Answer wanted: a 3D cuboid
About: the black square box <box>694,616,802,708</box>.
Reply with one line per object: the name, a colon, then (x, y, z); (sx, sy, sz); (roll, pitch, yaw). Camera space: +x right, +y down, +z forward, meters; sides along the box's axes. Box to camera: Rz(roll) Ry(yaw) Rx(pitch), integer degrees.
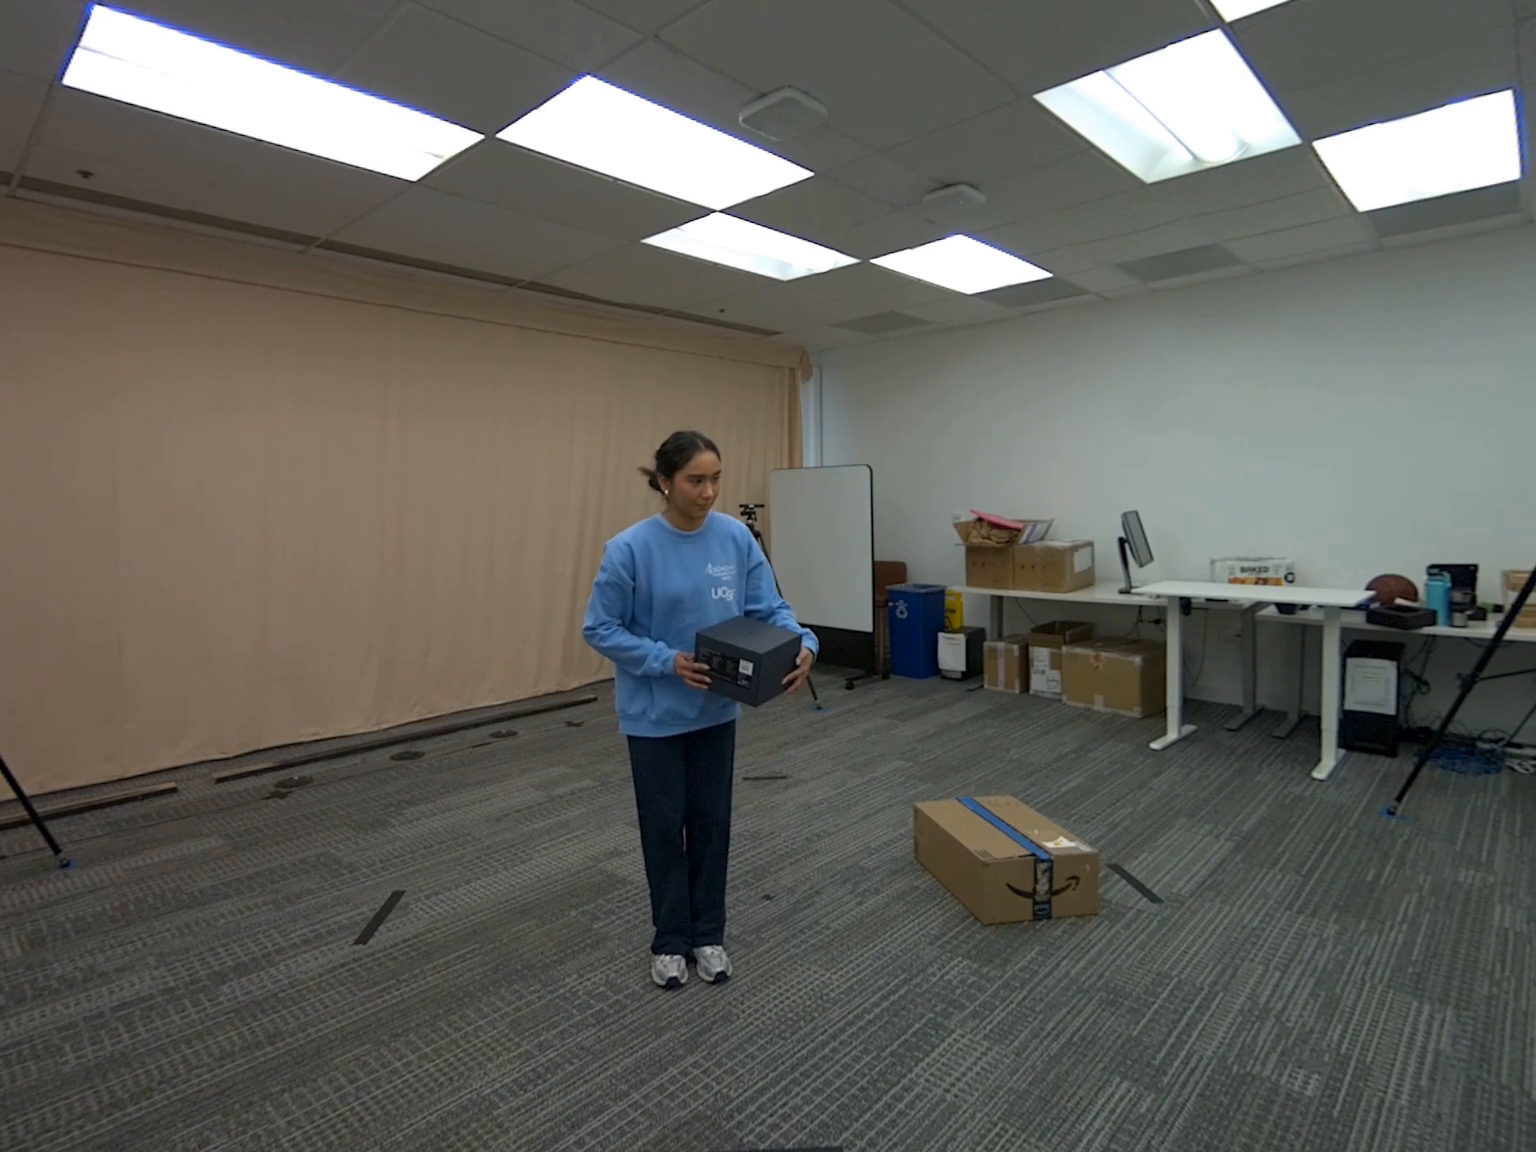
black square box: (-0.059, 0.236, 2.344); (0.224, 0.155, 0.222); (14, 17, 29)
